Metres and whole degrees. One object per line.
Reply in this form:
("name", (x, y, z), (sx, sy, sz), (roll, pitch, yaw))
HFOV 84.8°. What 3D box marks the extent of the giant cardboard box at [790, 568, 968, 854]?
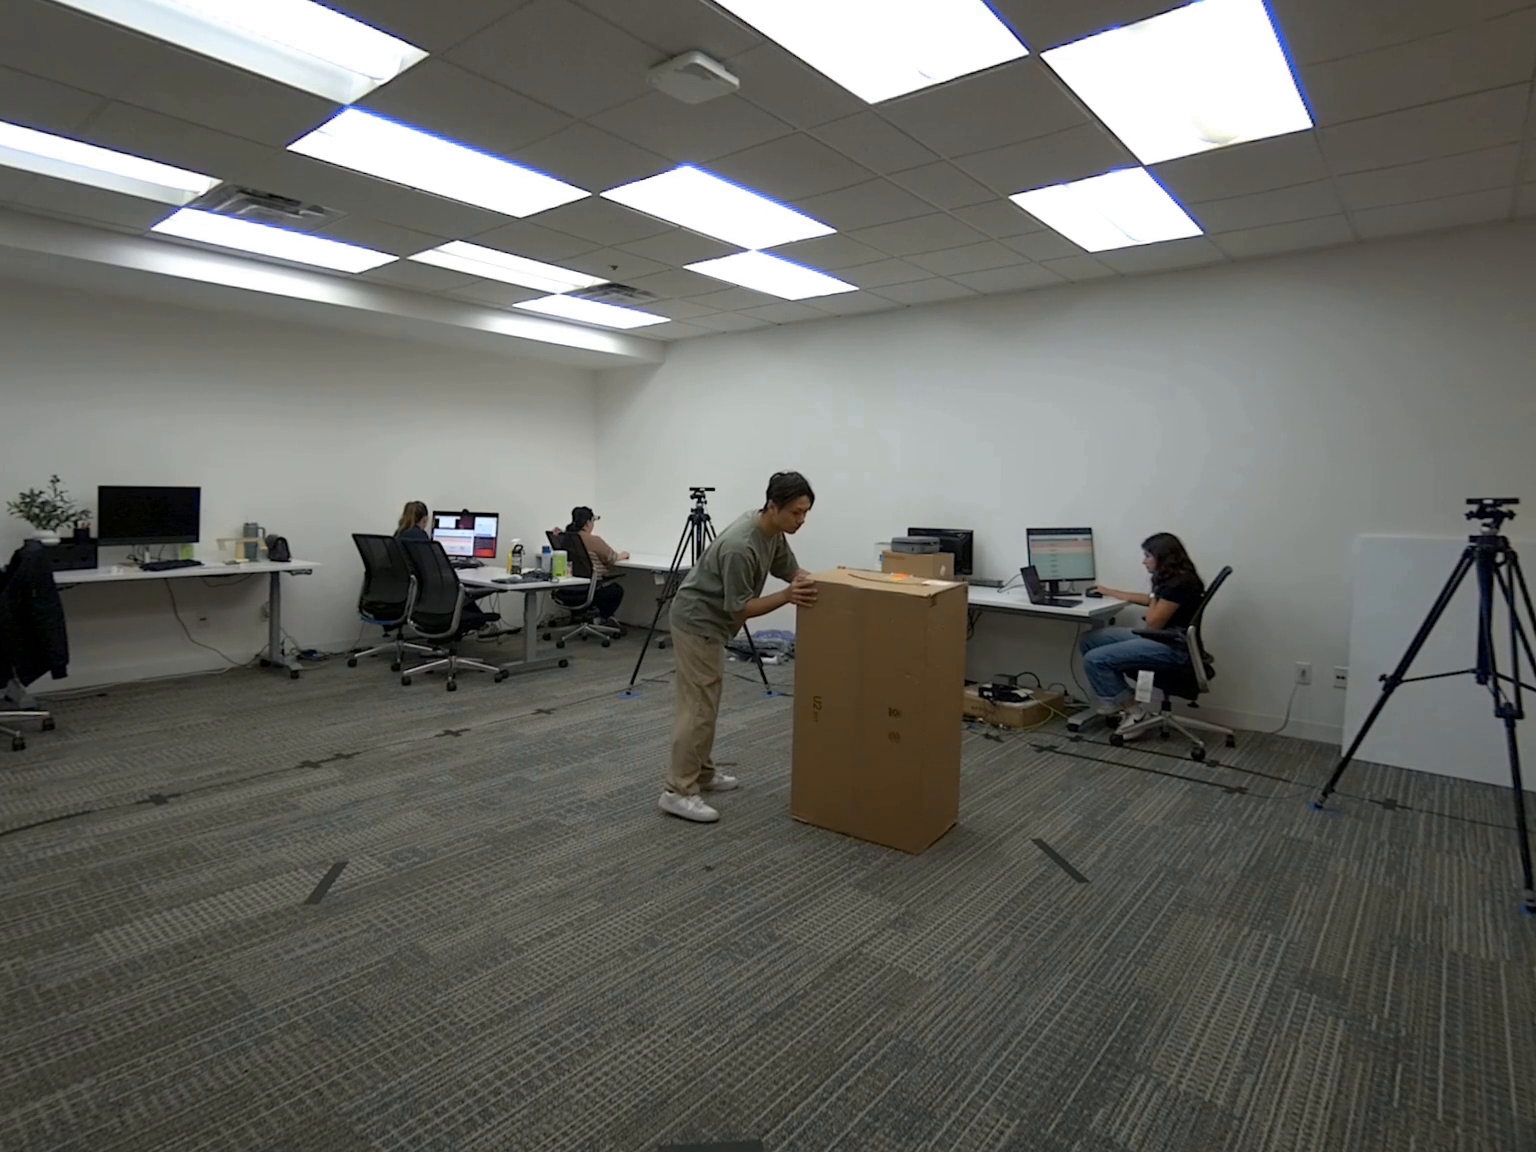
("giant cardboard box", (0.453, 0.523, 3.544), (0.596, 1.020, 0.415), (6, 7, 34))
